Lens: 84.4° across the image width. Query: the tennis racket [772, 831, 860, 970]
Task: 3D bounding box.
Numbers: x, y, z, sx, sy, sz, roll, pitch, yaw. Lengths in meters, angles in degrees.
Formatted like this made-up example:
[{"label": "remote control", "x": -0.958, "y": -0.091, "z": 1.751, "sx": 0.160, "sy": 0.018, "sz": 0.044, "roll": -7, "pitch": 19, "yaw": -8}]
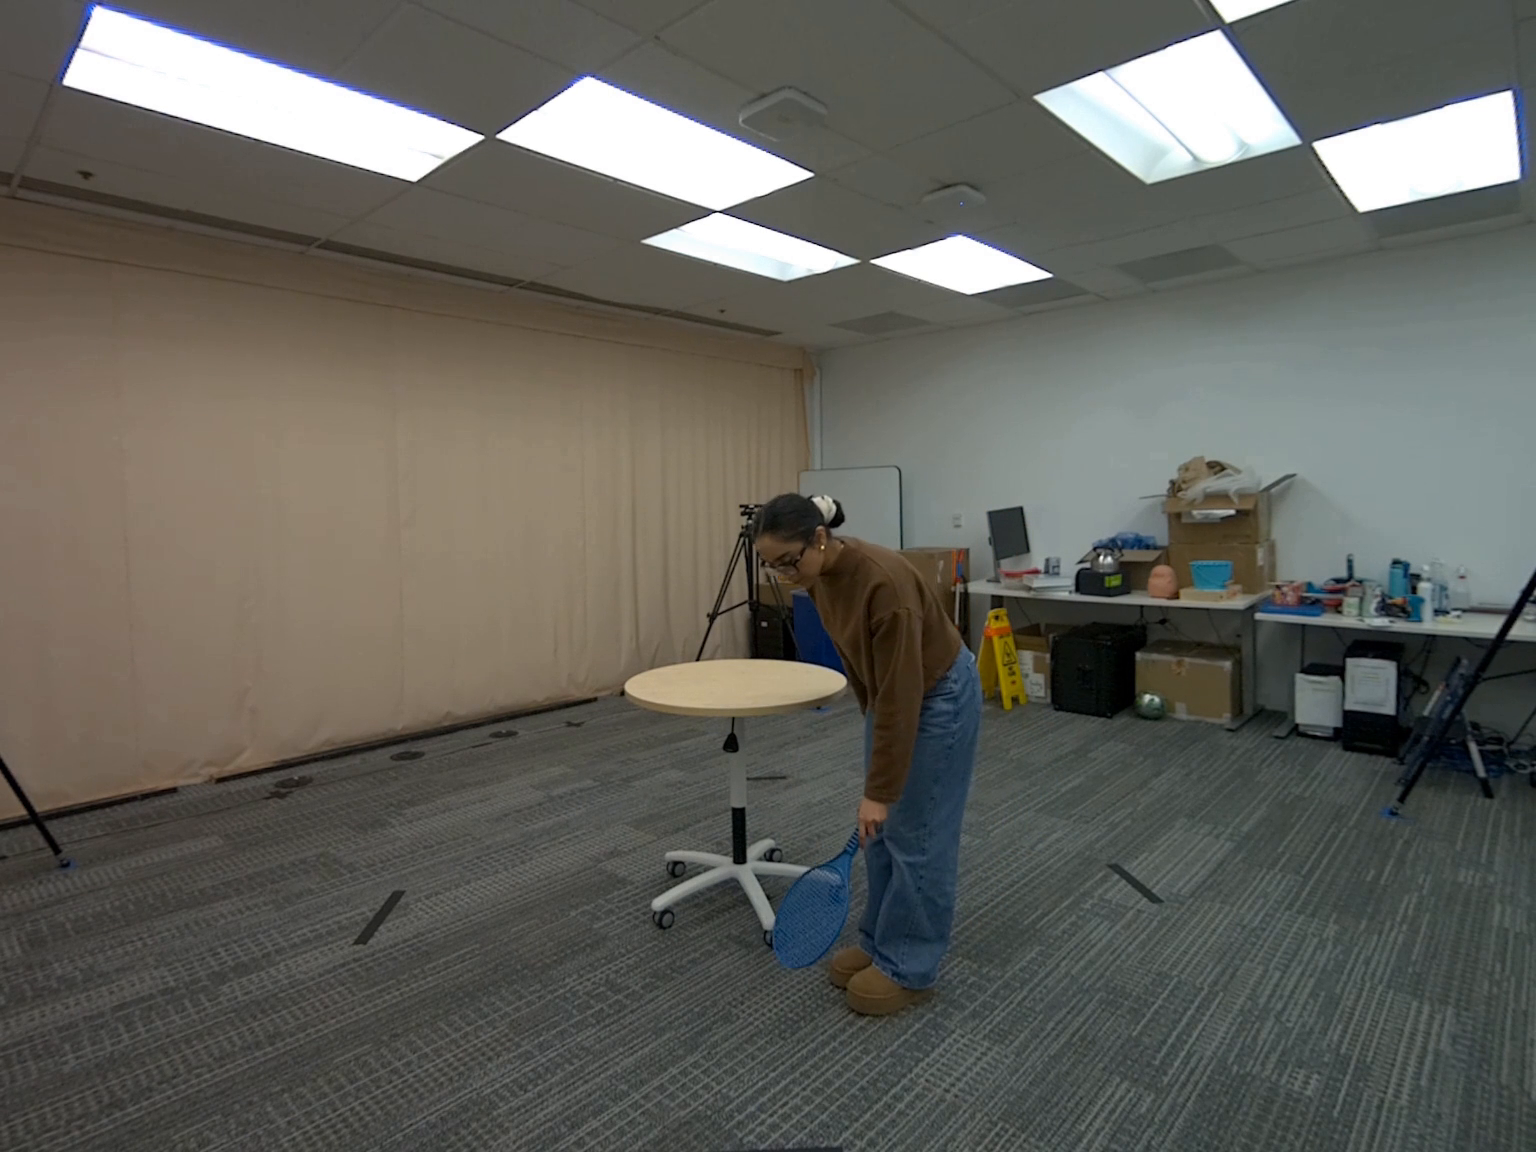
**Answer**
[{"label": "tennis racket", "x": 0.166, "y": 0.777, "z": 2.141, "sx": 0.031, "sy": 0.433, "sz": 0.220, "roll": 37, "pitch": -13, "yaw": -25}]
